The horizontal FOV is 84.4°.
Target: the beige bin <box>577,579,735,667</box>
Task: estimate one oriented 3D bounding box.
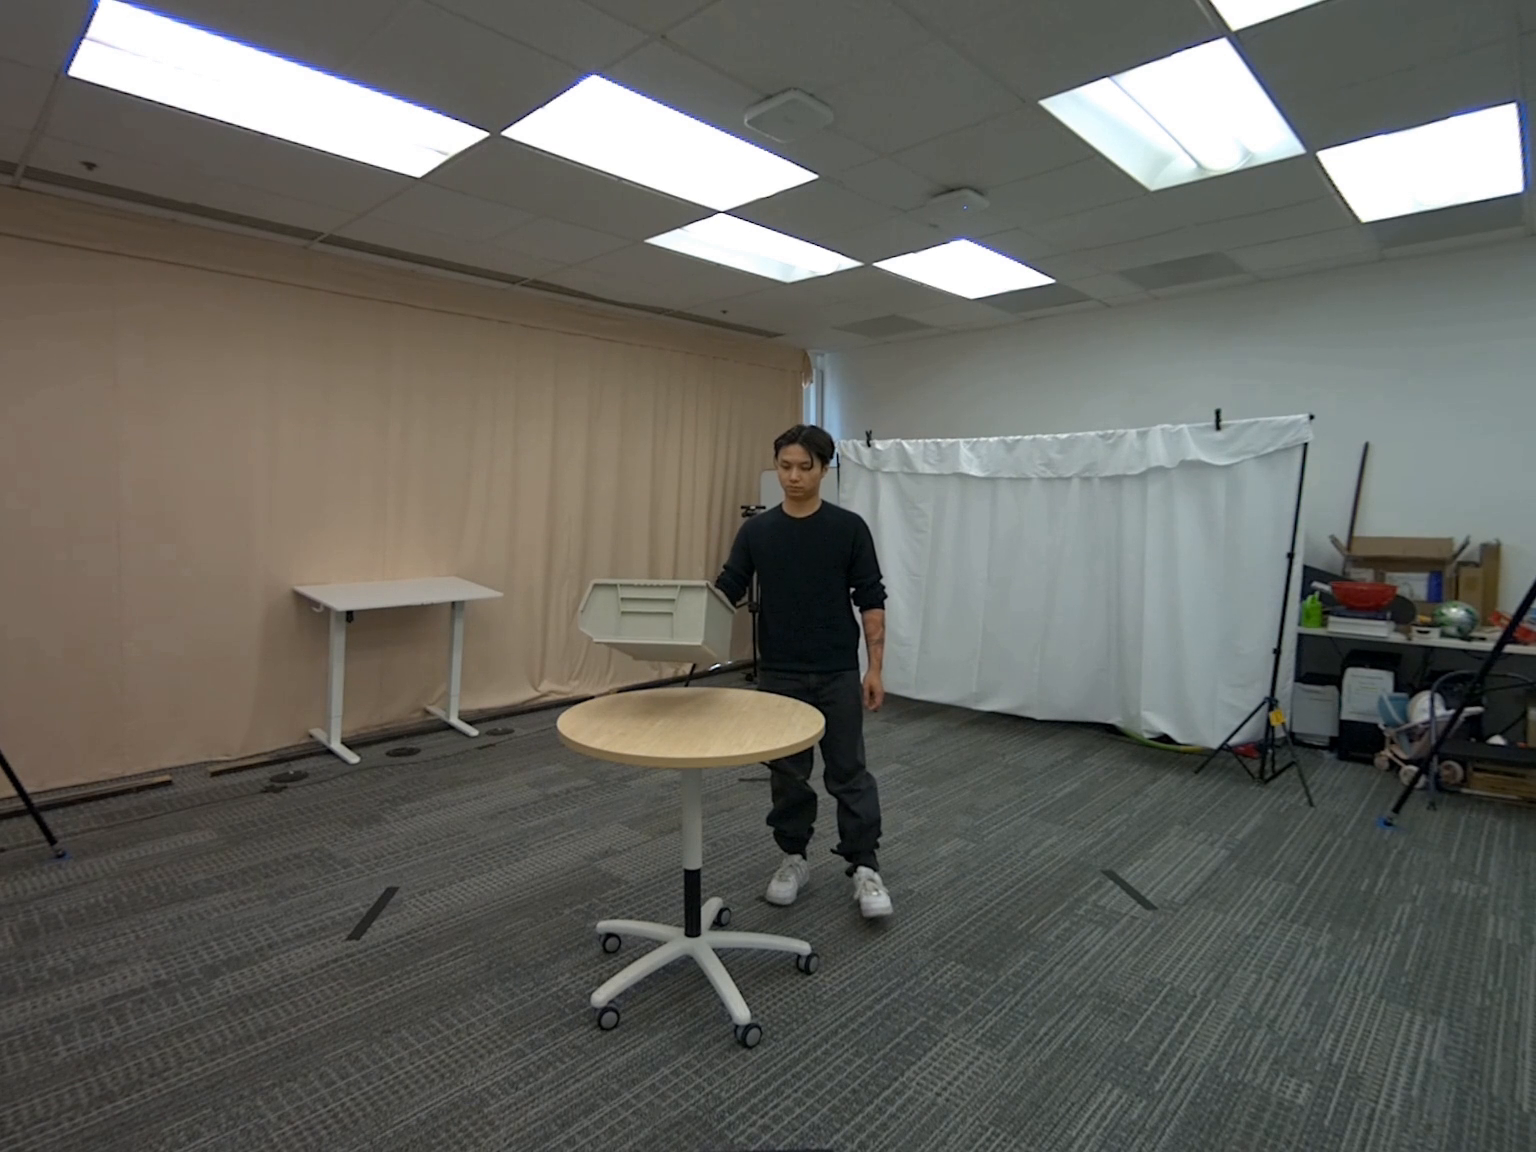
[{"bbox_3d":[-0.329,0.148,2.540,0.382,0.190,0.414,3,-13,11],"label":"beige bin"}]
